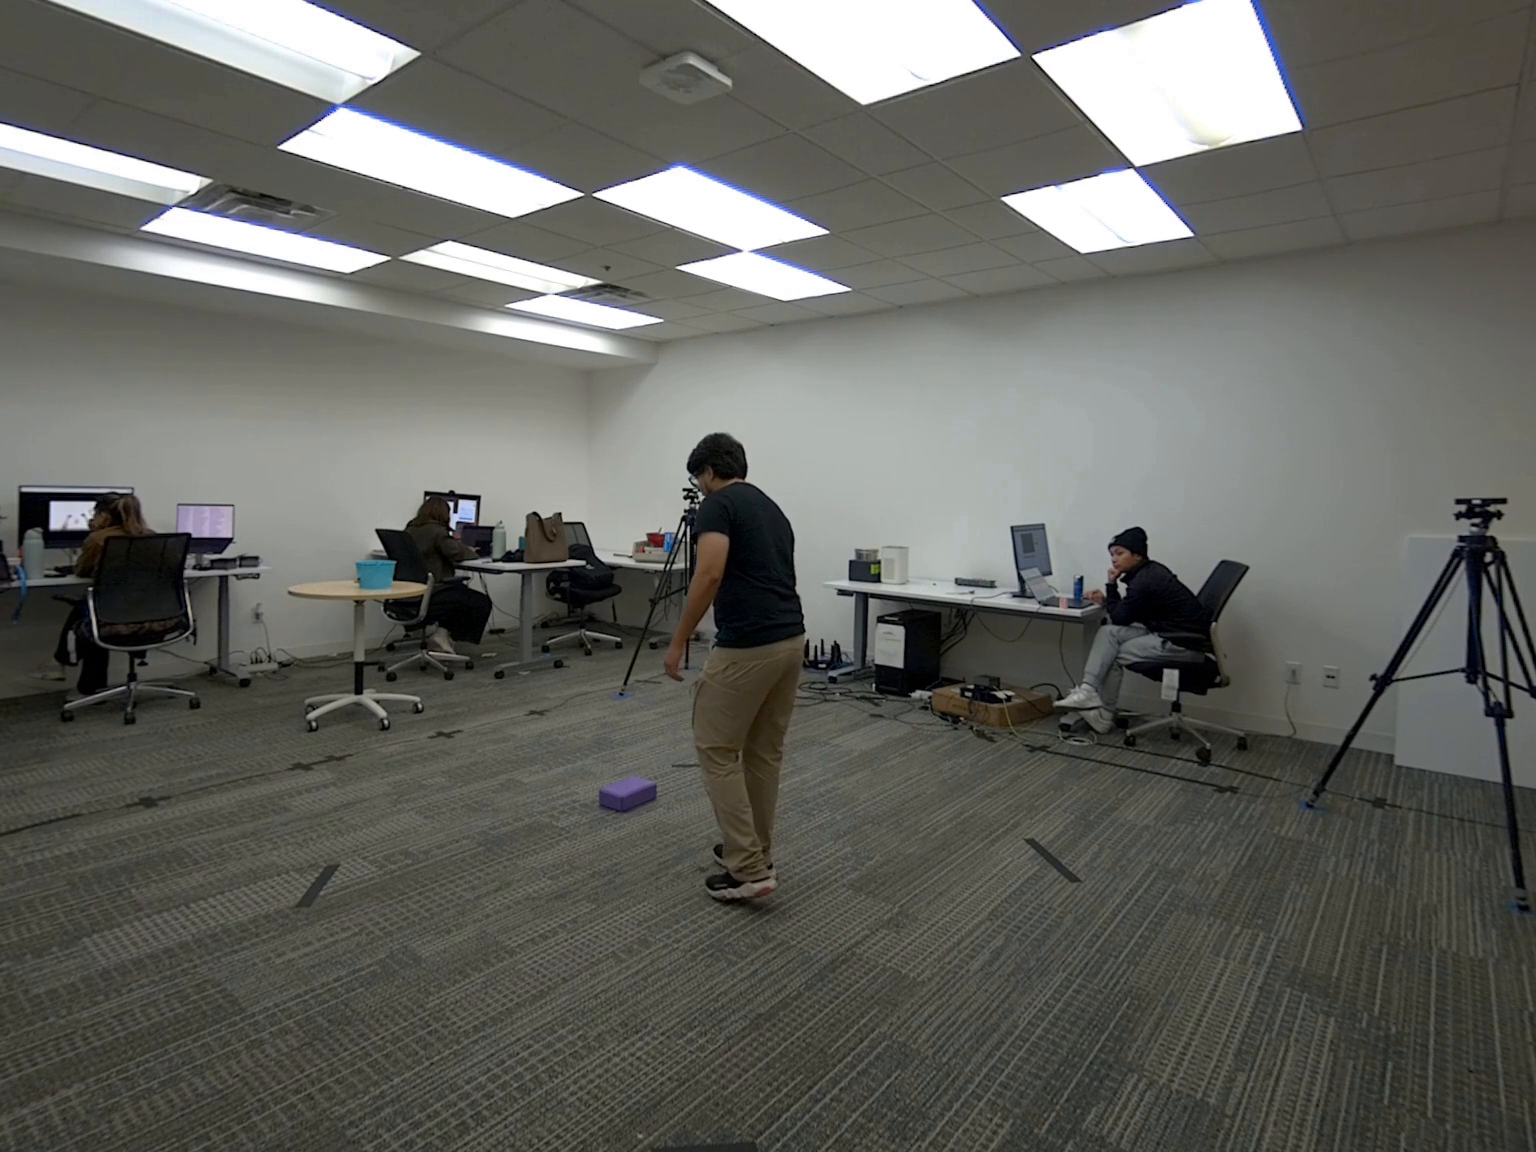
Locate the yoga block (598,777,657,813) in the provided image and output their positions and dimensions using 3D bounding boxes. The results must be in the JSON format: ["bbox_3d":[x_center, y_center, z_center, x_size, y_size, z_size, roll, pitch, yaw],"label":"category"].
[{"bbox_3d":[-0.633,0.960,3.766,0.154,0.076,0.223,4,6,36],"label":"yoga block"}]
